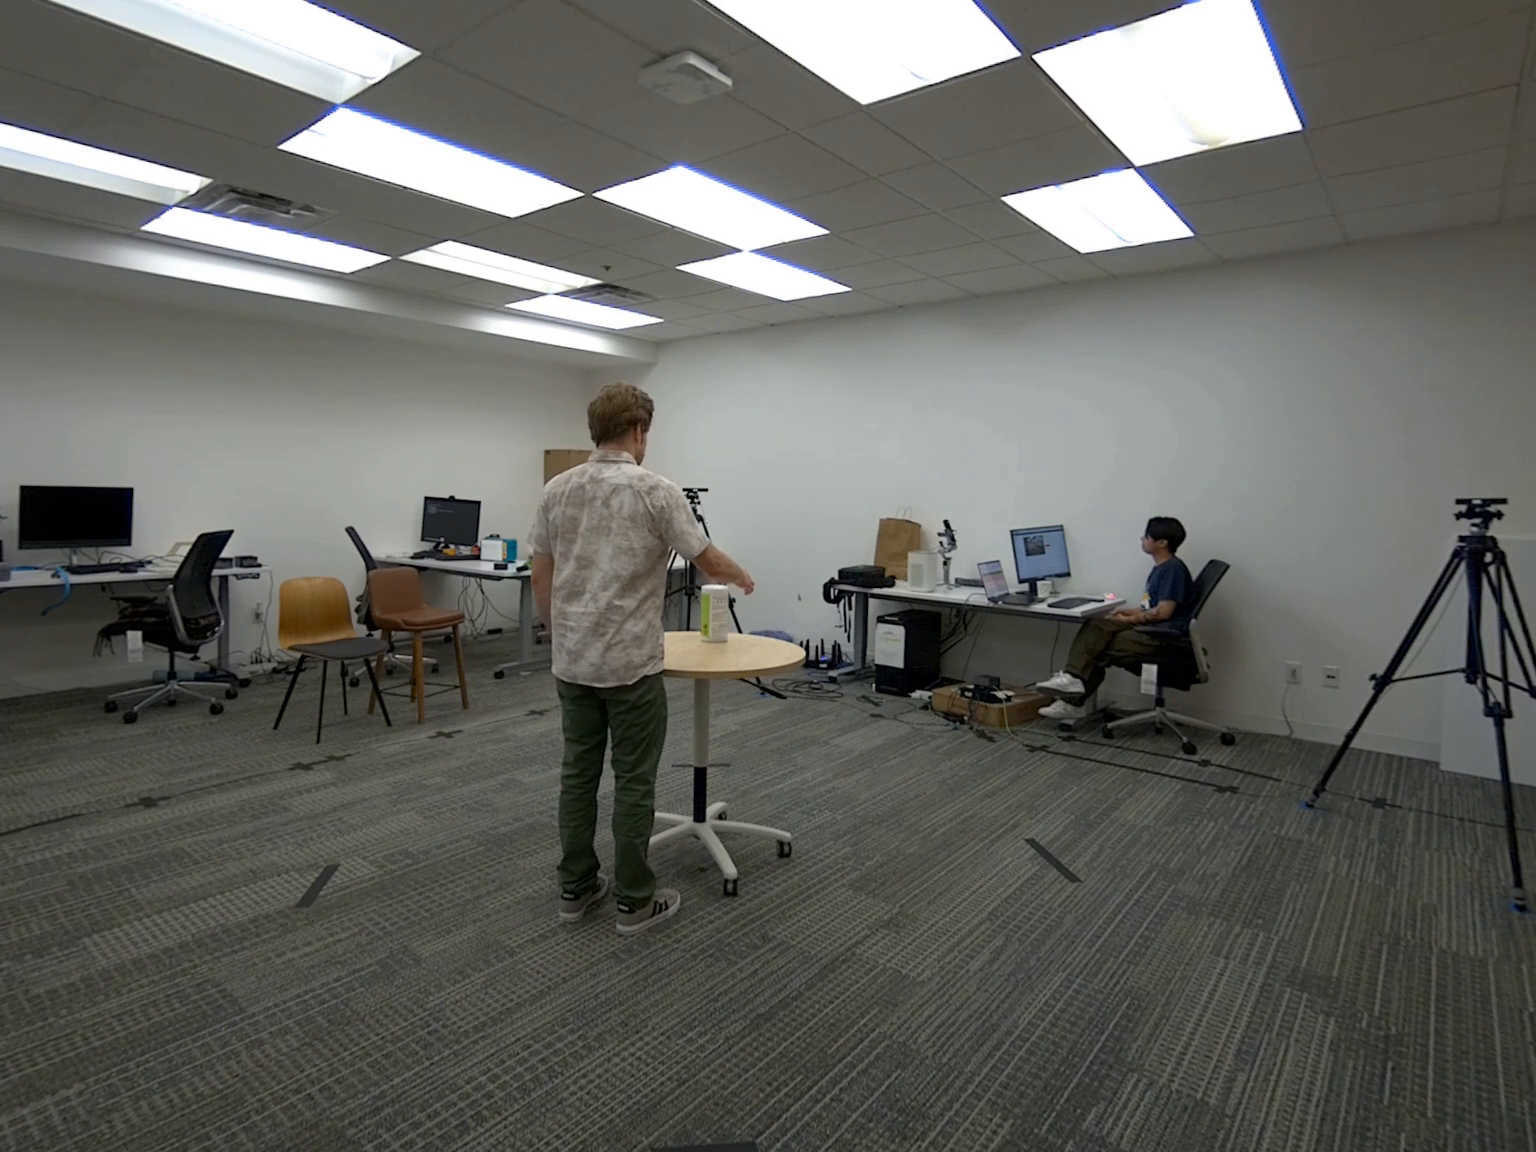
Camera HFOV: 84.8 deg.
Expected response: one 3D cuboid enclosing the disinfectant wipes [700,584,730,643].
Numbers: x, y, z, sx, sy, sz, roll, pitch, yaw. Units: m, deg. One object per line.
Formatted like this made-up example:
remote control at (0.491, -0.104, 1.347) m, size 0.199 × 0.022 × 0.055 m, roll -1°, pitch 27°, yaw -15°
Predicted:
disinfectant wipes at (-0.218, 0.145, 3.353) m, size 0.117 × 0.217 × 0.118 m, roll 2°, pitch 4°, yaw -2°
